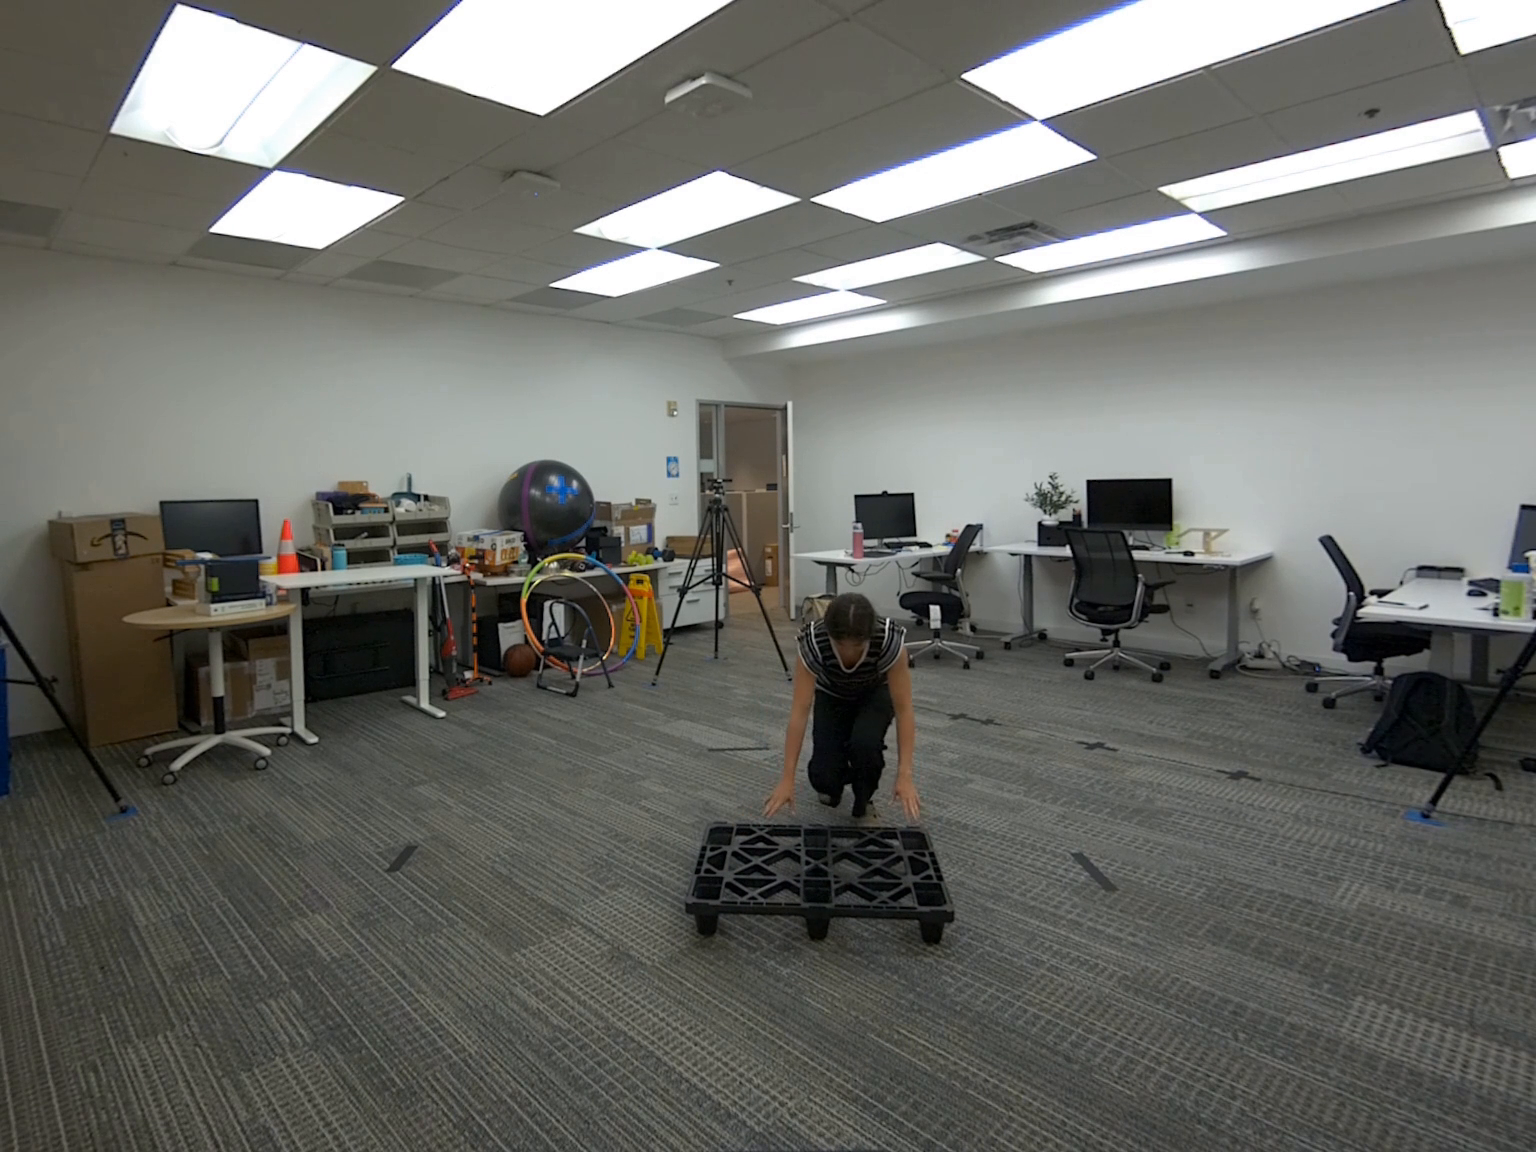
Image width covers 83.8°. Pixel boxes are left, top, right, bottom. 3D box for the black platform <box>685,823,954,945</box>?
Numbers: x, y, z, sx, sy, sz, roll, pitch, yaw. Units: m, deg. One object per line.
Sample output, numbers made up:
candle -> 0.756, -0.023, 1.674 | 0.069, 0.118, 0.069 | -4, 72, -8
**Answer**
black platform -> 0.160, 1.006, 2.822 | 0.810, 0.143, 0.604 | 0, 6, 5
